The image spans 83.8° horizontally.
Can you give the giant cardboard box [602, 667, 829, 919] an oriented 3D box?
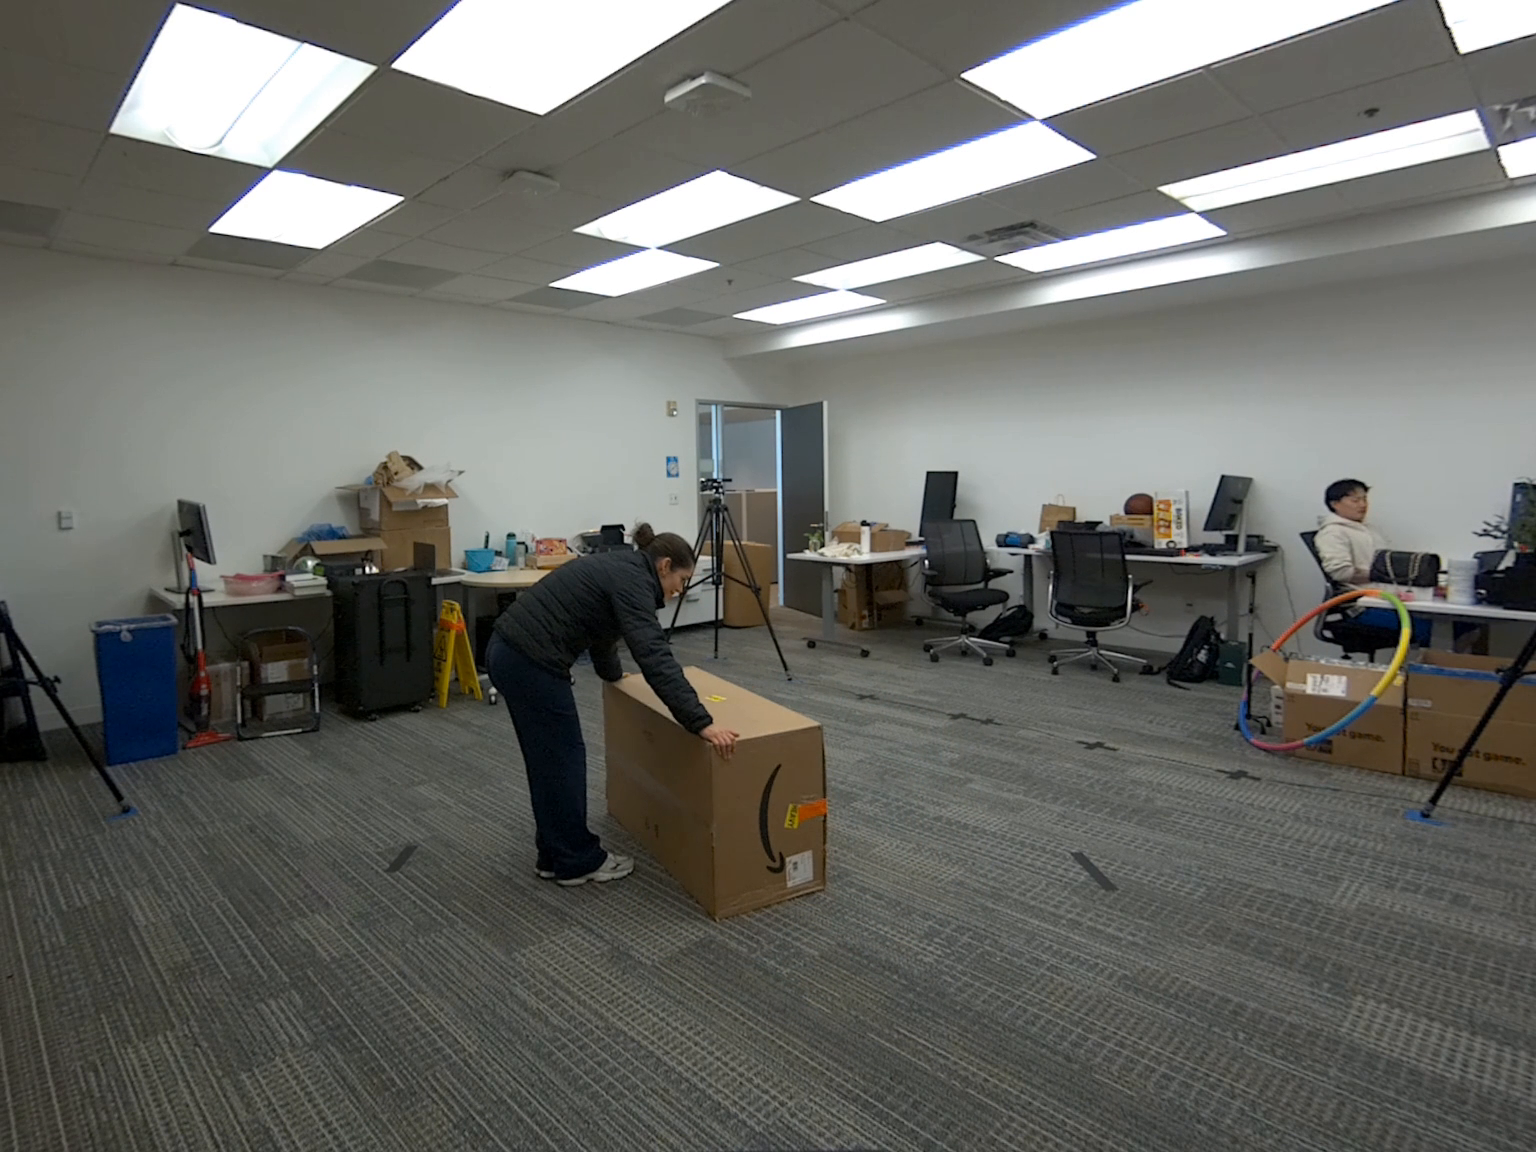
[{"bbox_3d":[-0.243,0.746,3.246,0.436,0.581,1.056,-3,6,-30],"label":"giant cardboard box"}]
